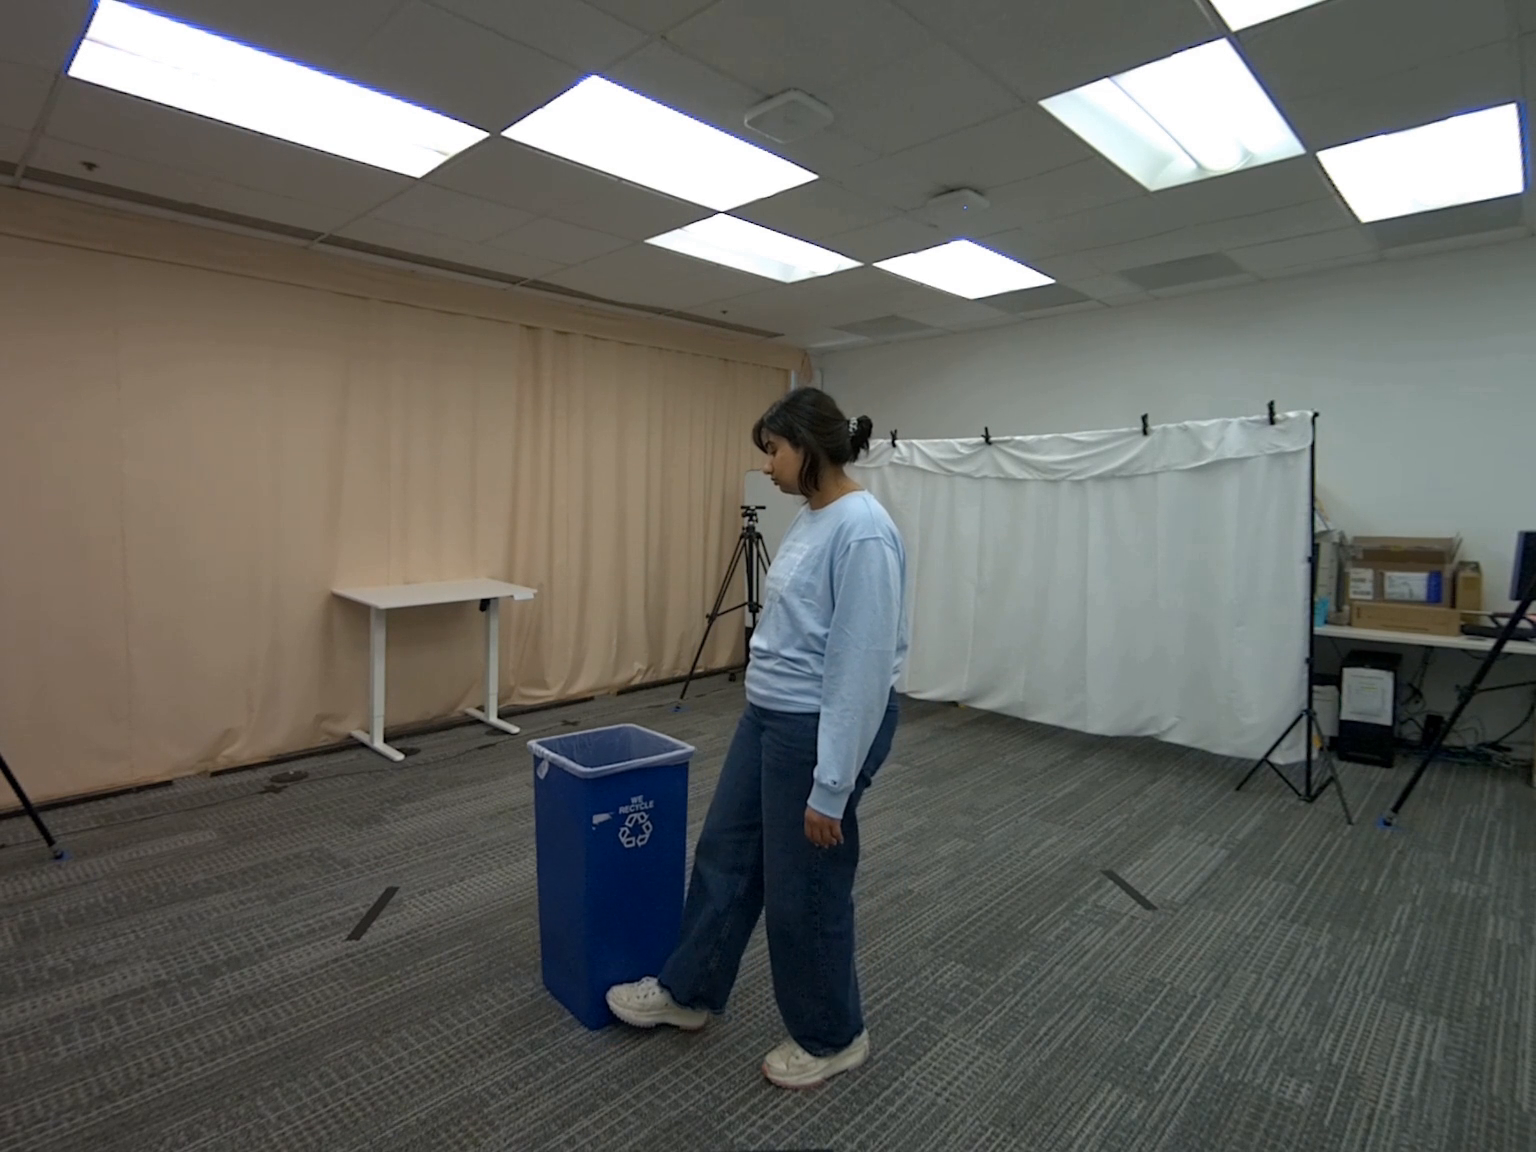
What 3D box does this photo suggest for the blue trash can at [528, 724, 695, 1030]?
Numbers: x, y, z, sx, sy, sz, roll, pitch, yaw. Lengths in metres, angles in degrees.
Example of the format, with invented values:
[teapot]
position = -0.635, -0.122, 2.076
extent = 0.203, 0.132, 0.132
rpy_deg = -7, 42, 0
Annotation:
[blue trash can]
position = -0.445, 0.839, 2.420
extent = 0.366, 0.712, 0.386
rpy_deg = -2, 3, -41
